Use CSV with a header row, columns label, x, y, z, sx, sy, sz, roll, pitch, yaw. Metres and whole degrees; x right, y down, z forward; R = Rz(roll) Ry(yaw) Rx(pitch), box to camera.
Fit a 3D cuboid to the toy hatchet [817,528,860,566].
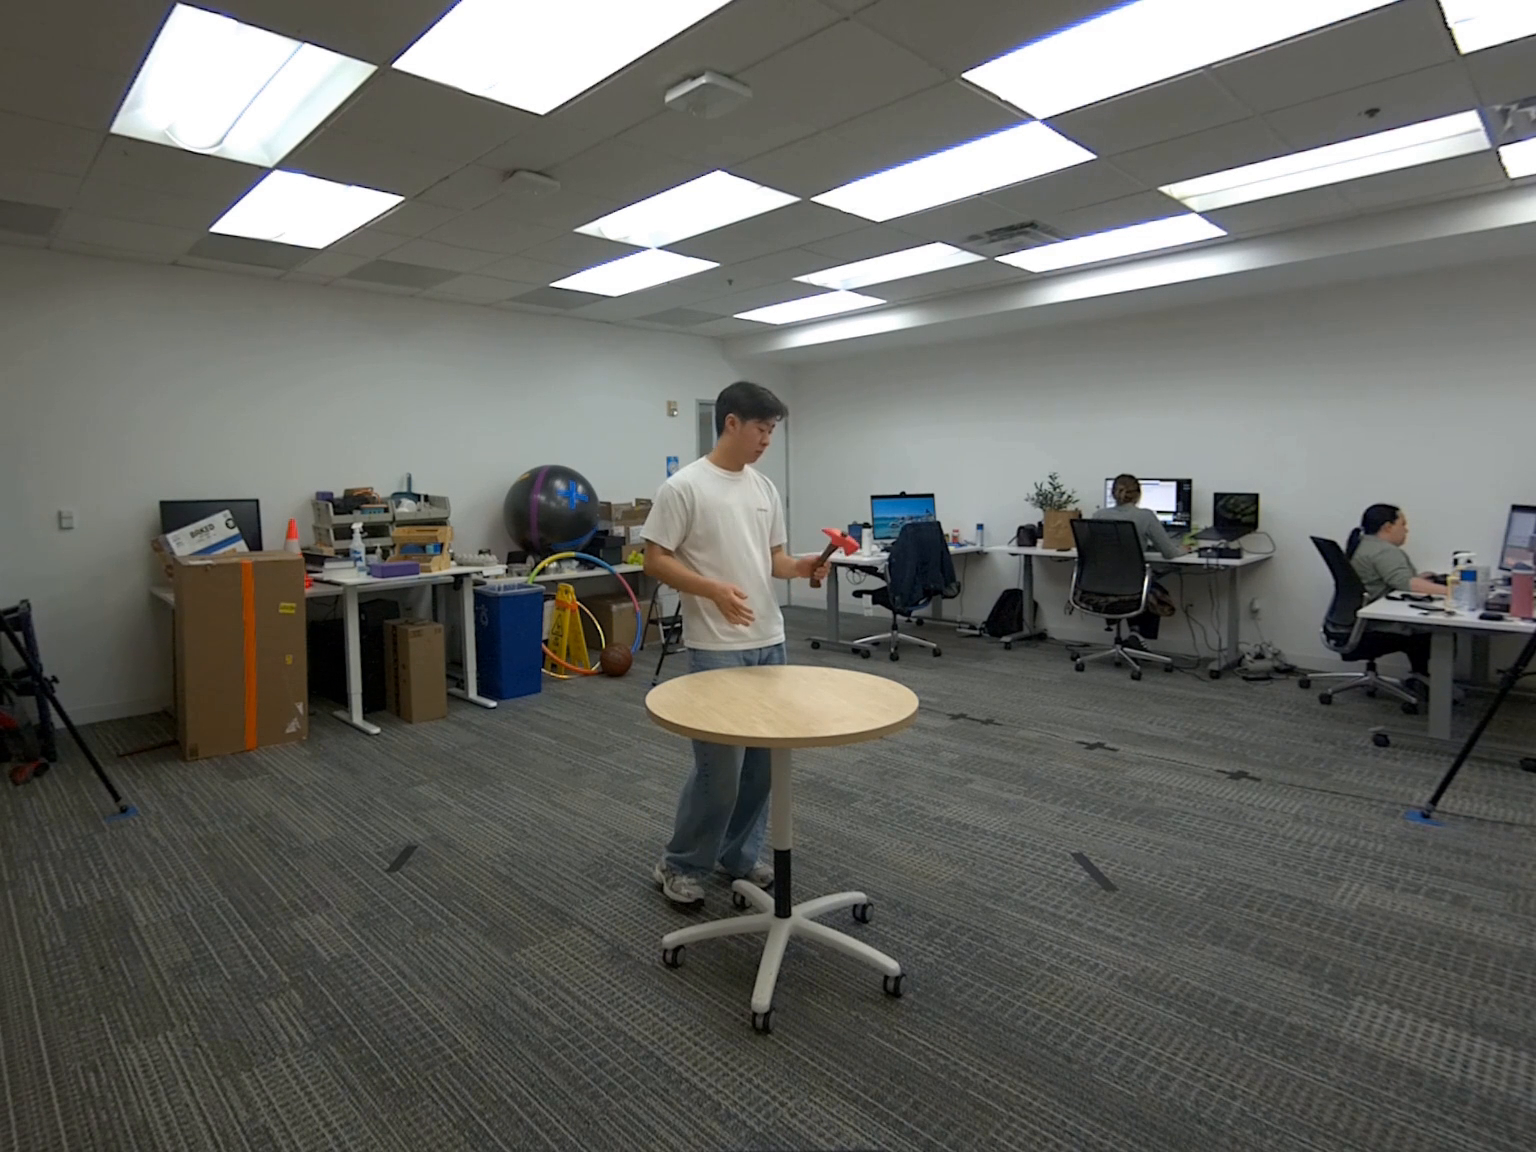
label,x,y,z,sx,sy,sz,roll,pitch,yaw
toy hatchet,0.204,-0.046,2.755,0.132,0.264,0.030,14,45,4
